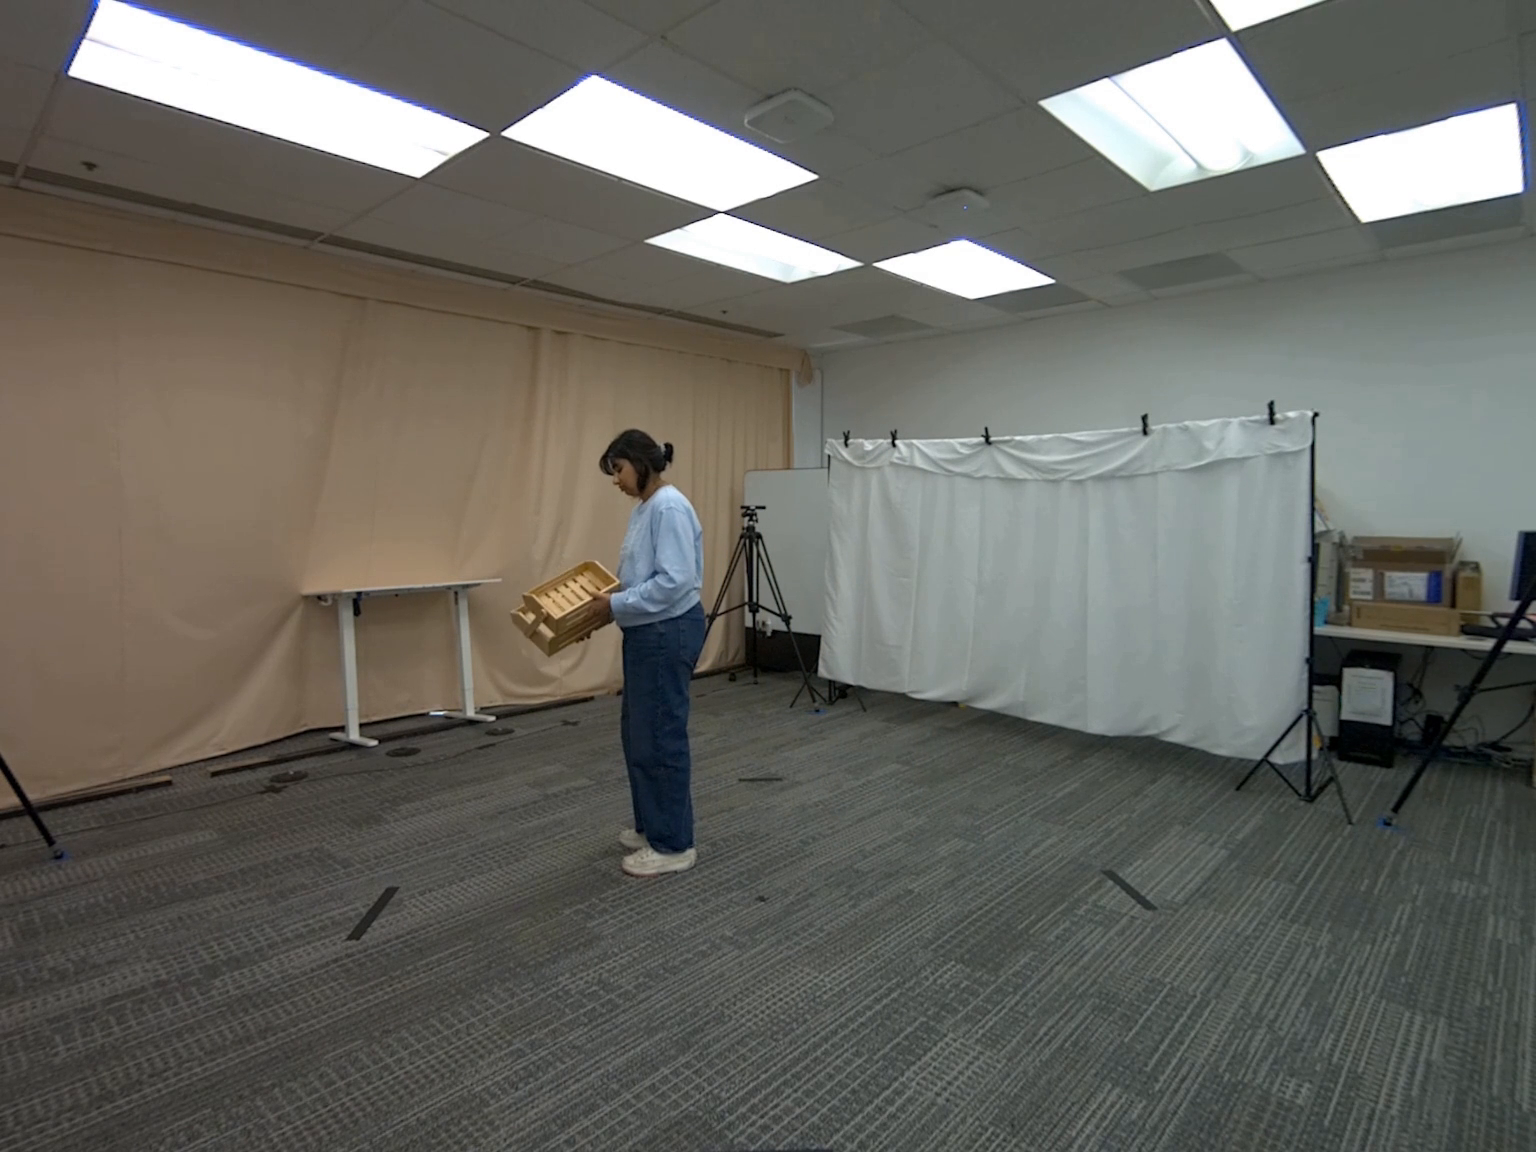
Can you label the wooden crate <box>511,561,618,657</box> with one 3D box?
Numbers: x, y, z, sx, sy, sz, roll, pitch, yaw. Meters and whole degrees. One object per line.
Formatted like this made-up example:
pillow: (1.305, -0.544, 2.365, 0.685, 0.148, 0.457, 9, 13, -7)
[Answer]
wooden crate: (-0.785, 0.099, 3.239, 0.311, 0.270, 0.319, 37, 49, 25)
